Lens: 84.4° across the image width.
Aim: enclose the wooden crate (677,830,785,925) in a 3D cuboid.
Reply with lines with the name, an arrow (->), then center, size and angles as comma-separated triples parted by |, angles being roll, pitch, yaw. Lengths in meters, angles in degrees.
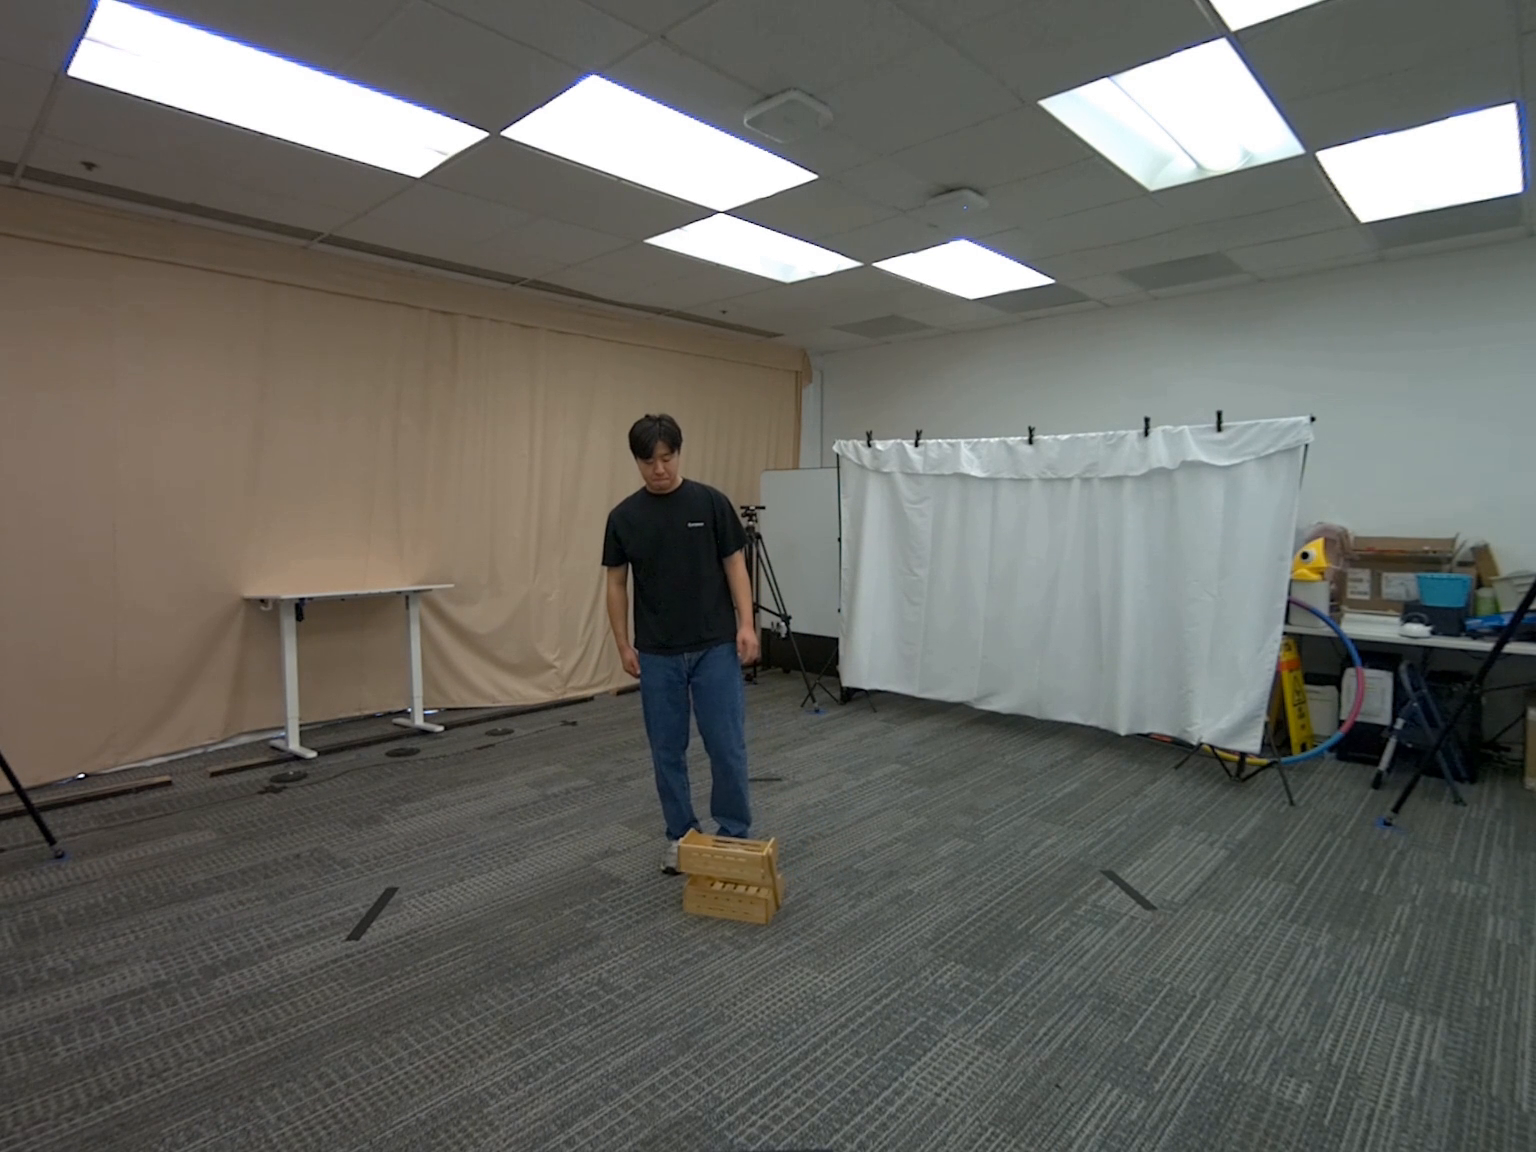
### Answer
wooden crate -> -0.117, 1.016, 2.929 | 0.330, 0.273, 0.297 | 1, 4, 16
